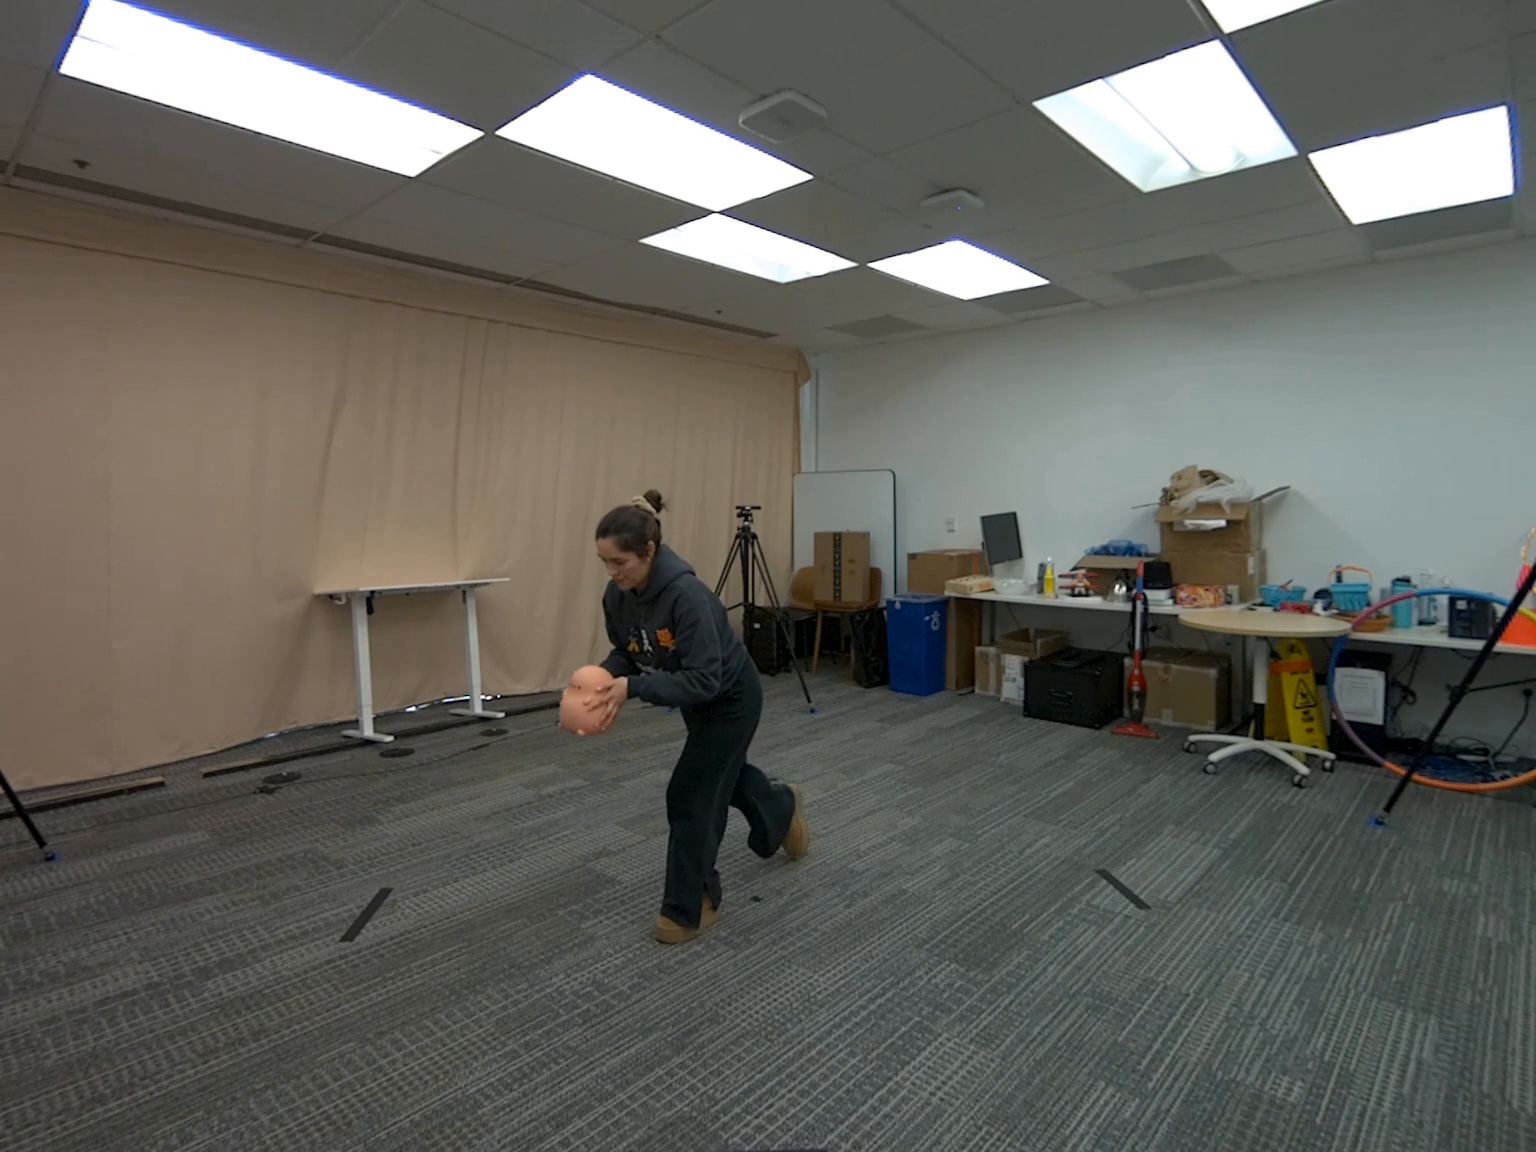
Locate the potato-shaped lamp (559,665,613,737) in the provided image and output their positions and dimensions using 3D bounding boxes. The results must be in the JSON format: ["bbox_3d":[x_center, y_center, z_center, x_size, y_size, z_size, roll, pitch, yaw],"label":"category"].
[{"bbox_3d":[-0.520,0.375,2.526,0.166,0.198,0.170,2,2,-44],"label":"potato-shaped lamp"}]
